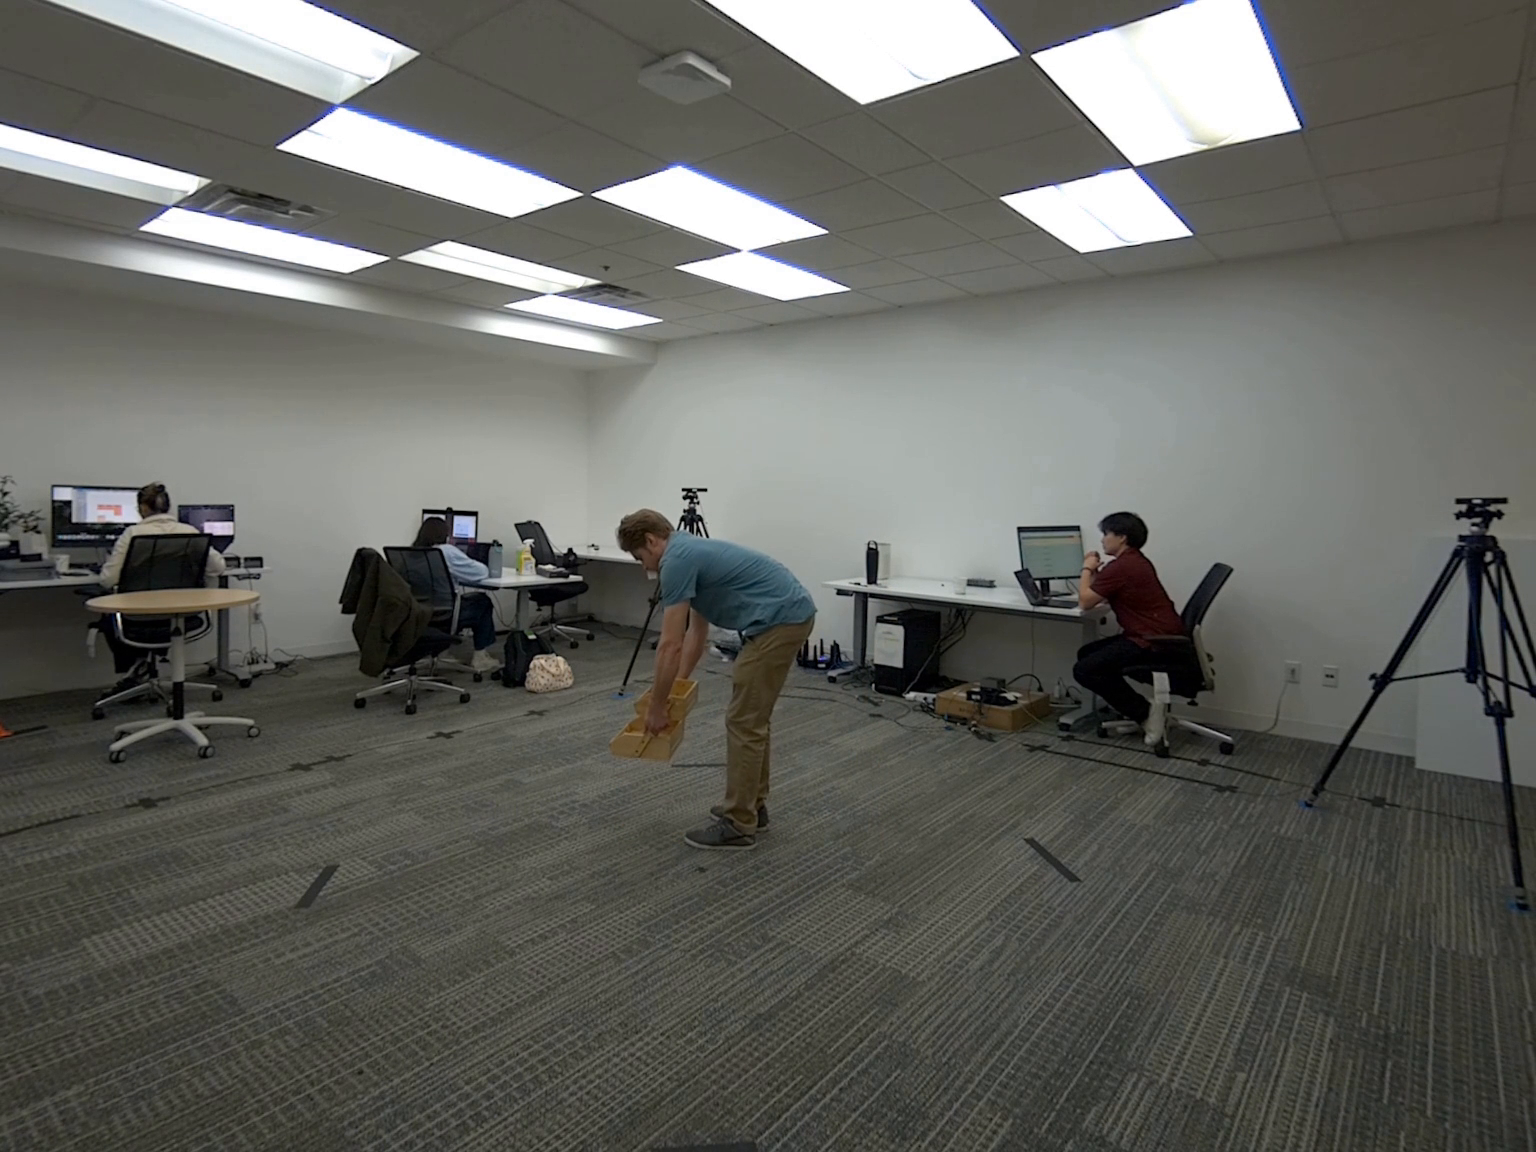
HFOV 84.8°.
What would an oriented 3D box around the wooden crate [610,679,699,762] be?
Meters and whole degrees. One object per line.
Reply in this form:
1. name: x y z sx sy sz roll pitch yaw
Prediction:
1. wooden crate: -0.479 0.581 3.516 0.304 0.272 0.323 4 5 6
